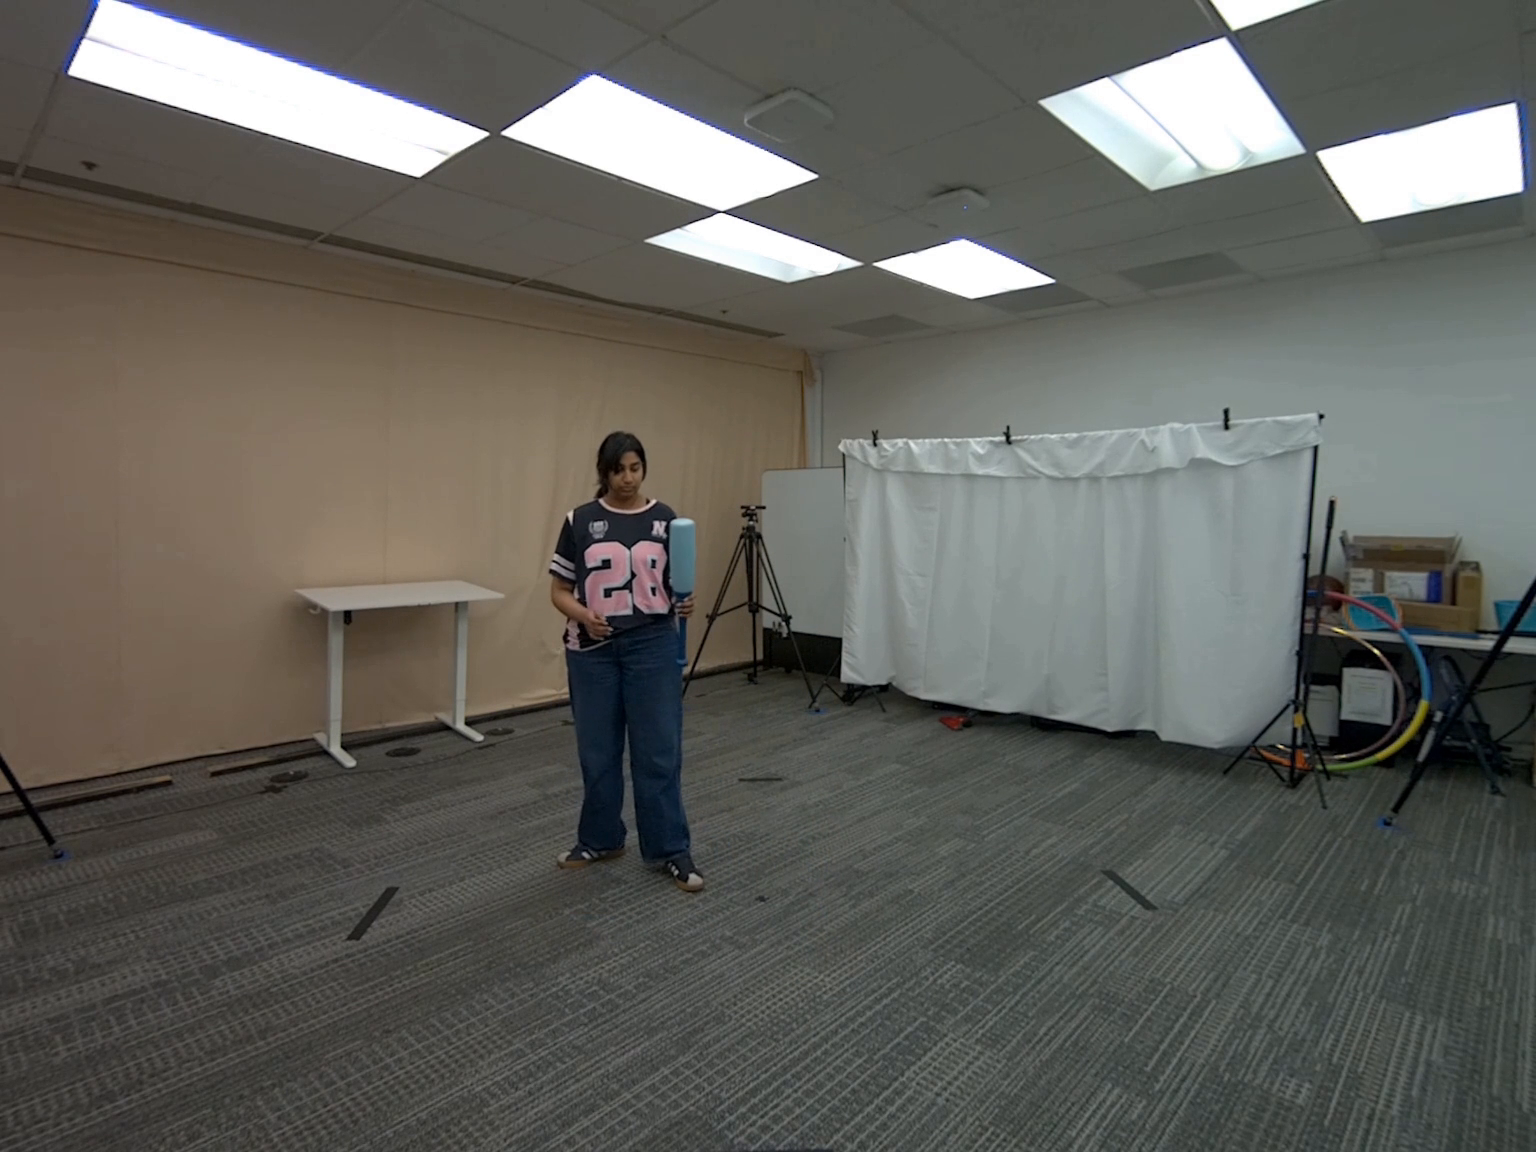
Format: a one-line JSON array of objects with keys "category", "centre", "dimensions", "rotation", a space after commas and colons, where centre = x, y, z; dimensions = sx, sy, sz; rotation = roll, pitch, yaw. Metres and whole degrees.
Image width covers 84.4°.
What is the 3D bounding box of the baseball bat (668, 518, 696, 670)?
[{"category": "baseball bat", "centre": [-0.297, 0.071, 2.936], "dimensions": [0.089, 0.537, 0.090], "rotation": [1, 17, -2]}]
